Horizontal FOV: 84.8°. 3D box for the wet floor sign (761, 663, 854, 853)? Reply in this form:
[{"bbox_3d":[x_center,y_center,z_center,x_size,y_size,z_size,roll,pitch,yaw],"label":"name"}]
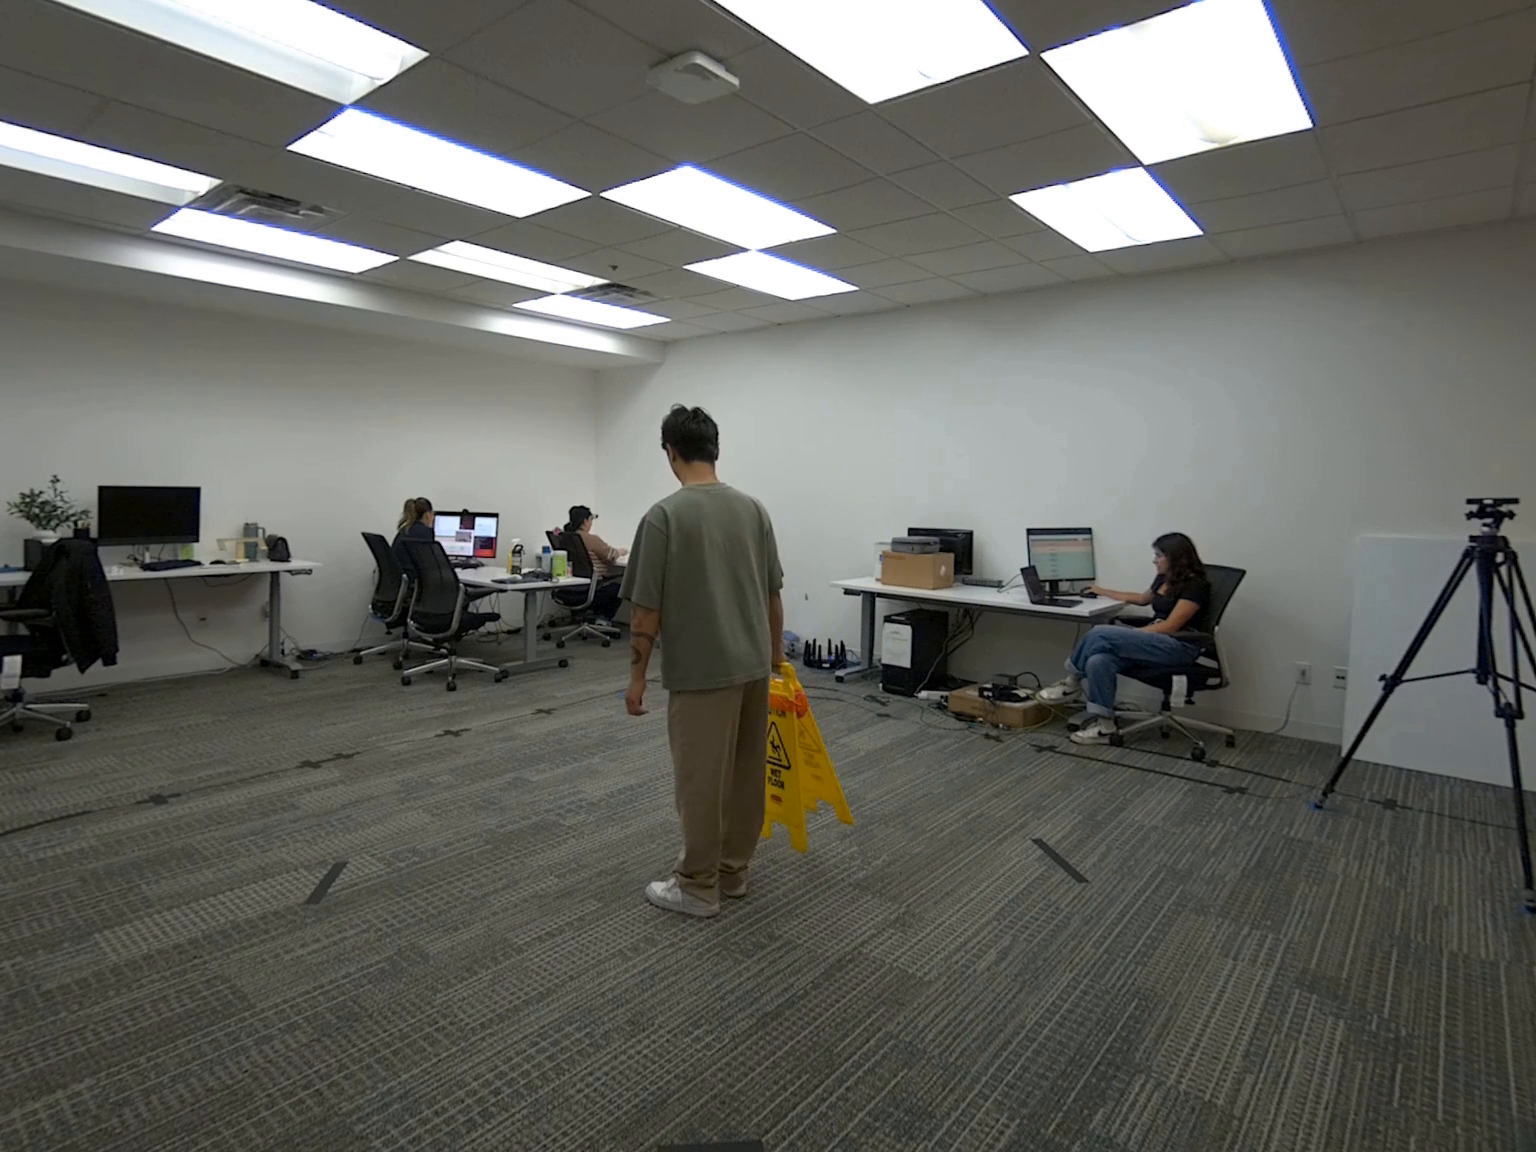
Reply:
[{"bbox_3d":[0.054,0.622,3.127,0.283,0.642,0.290,-15,7,-36],"label":"wet floor sign"}]
